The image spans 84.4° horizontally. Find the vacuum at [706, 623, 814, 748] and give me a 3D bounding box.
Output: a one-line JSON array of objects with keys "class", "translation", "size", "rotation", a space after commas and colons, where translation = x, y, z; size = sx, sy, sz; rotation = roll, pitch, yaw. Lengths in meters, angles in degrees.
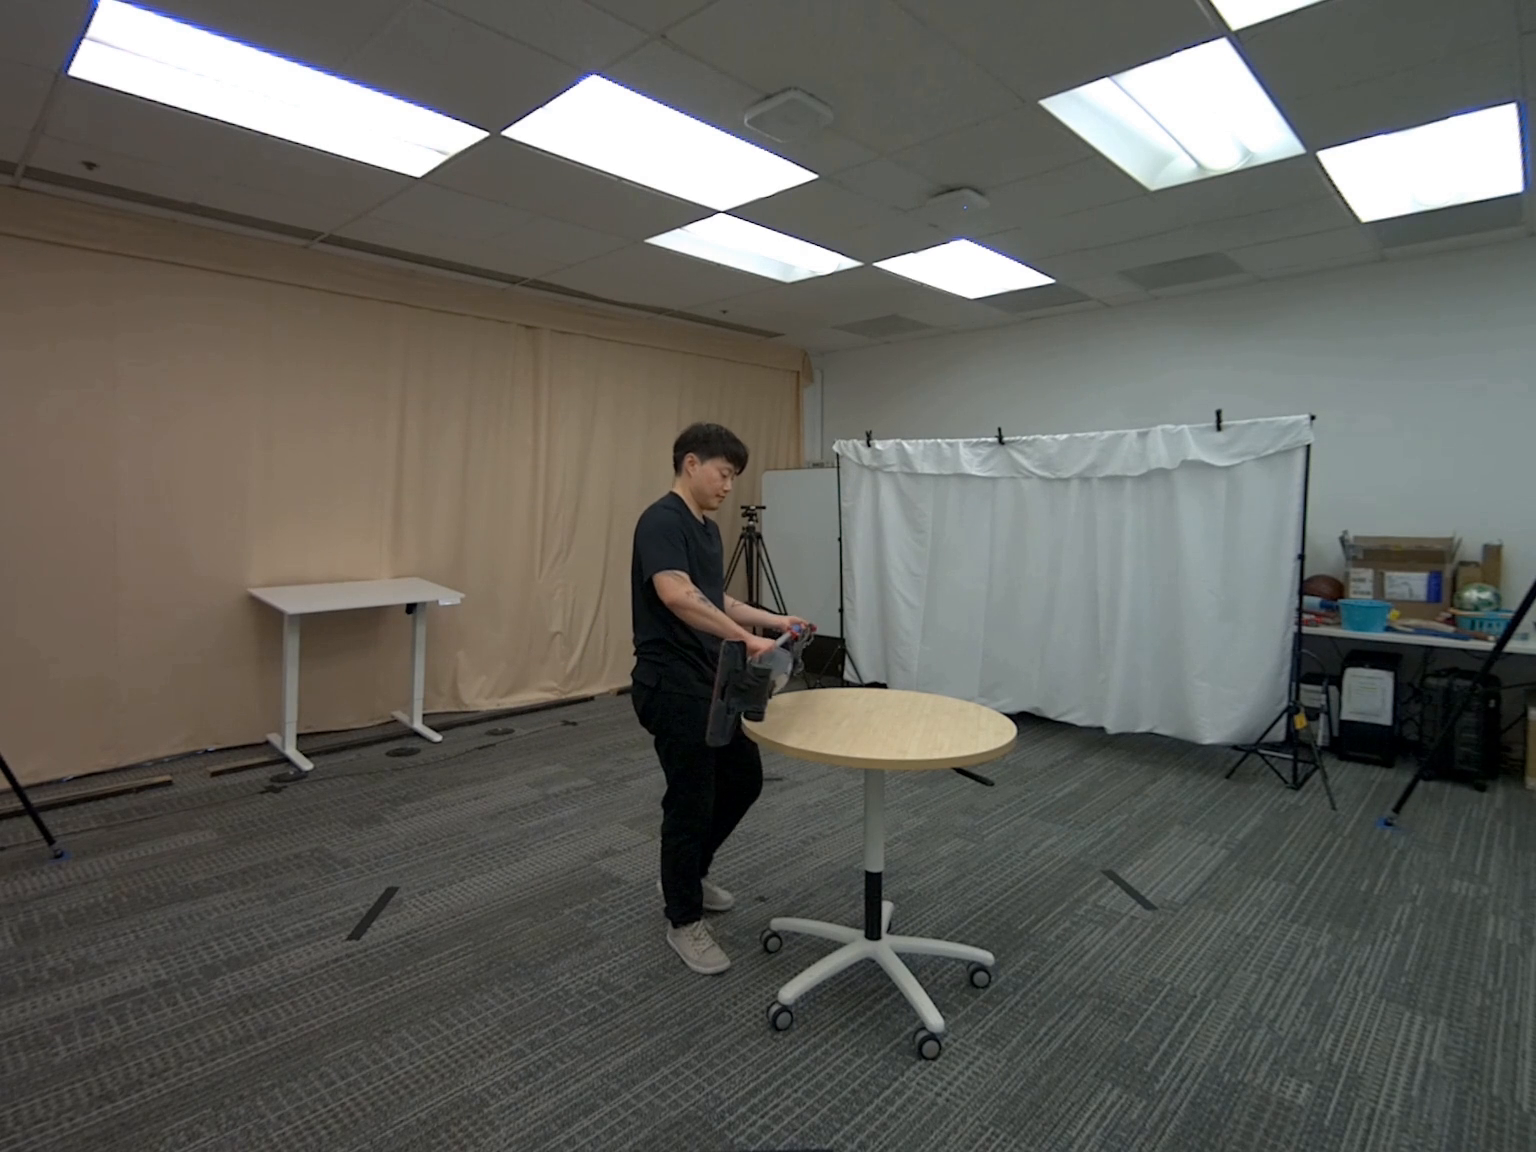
[{"class": "vacuum", "translation": [0.035, 0.231, 2.470], "size": [0.146, 0.252, 1.036], "rotation": [13, 7, 11]}]
